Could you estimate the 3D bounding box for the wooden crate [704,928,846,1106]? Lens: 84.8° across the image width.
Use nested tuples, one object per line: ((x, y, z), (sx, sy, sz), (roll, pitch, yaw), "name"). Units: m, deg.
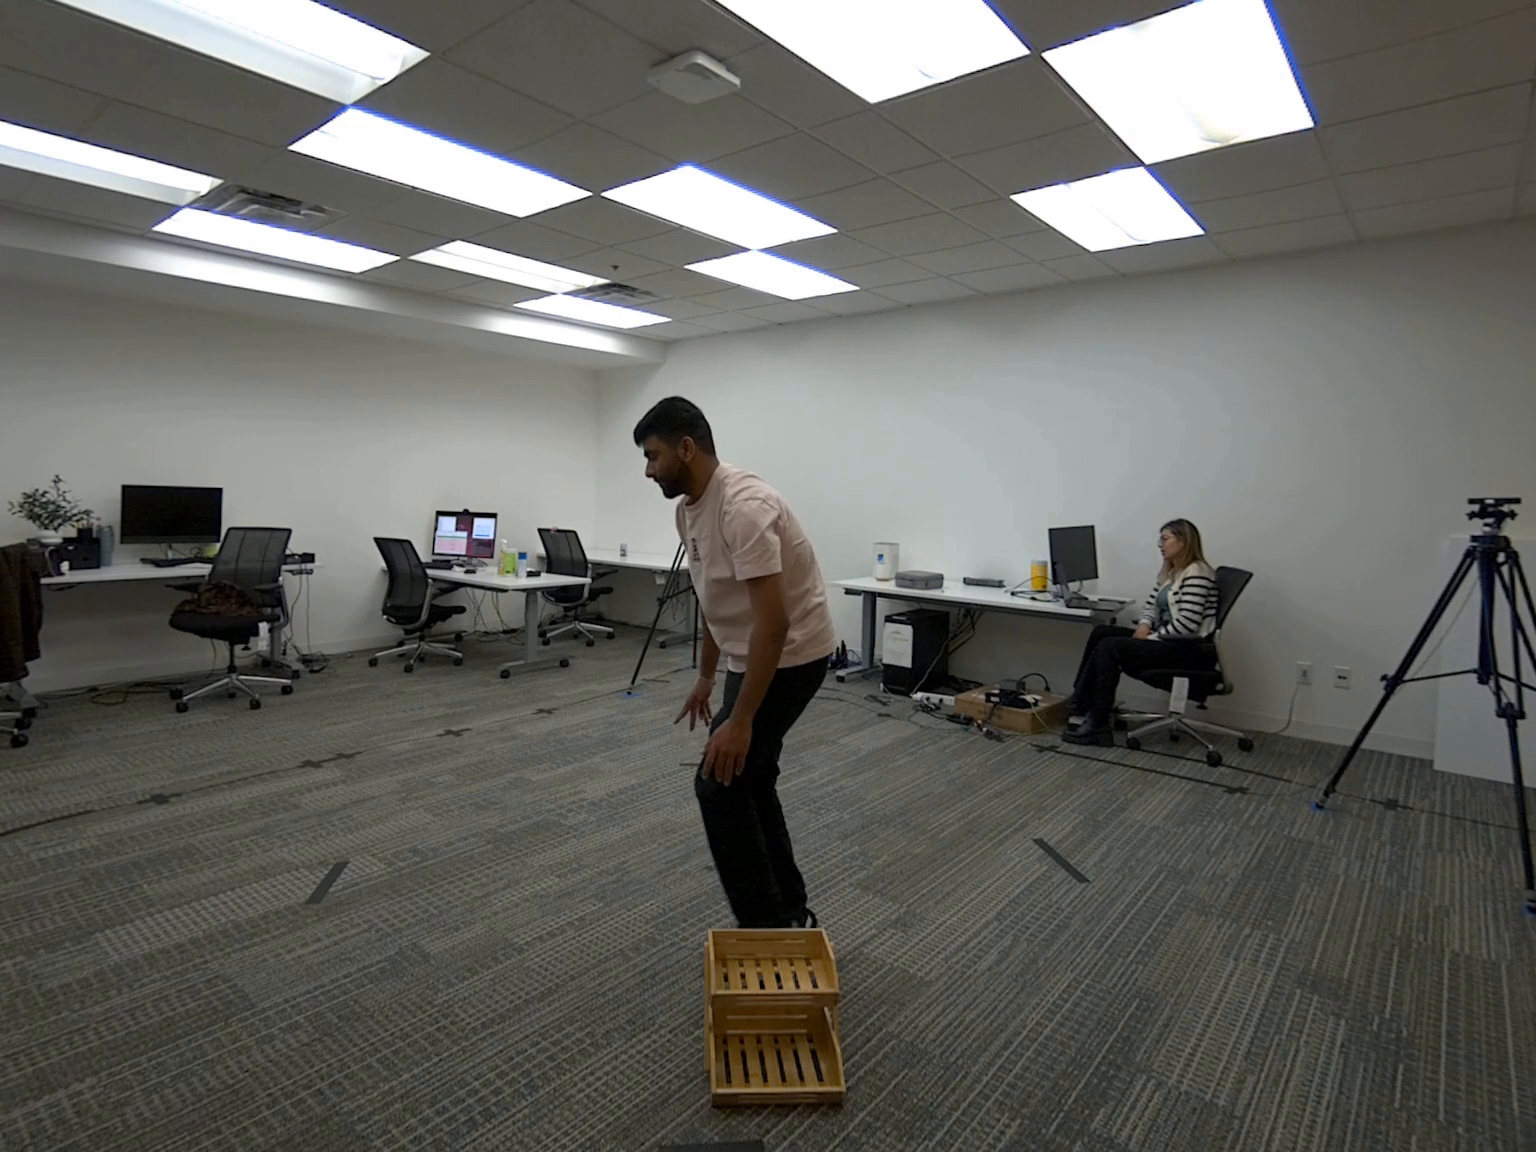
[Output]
((0.008, 1.047, 2.041), (0.323, 0.272, 0.305), (1, 5, -5), "wooden crate")
